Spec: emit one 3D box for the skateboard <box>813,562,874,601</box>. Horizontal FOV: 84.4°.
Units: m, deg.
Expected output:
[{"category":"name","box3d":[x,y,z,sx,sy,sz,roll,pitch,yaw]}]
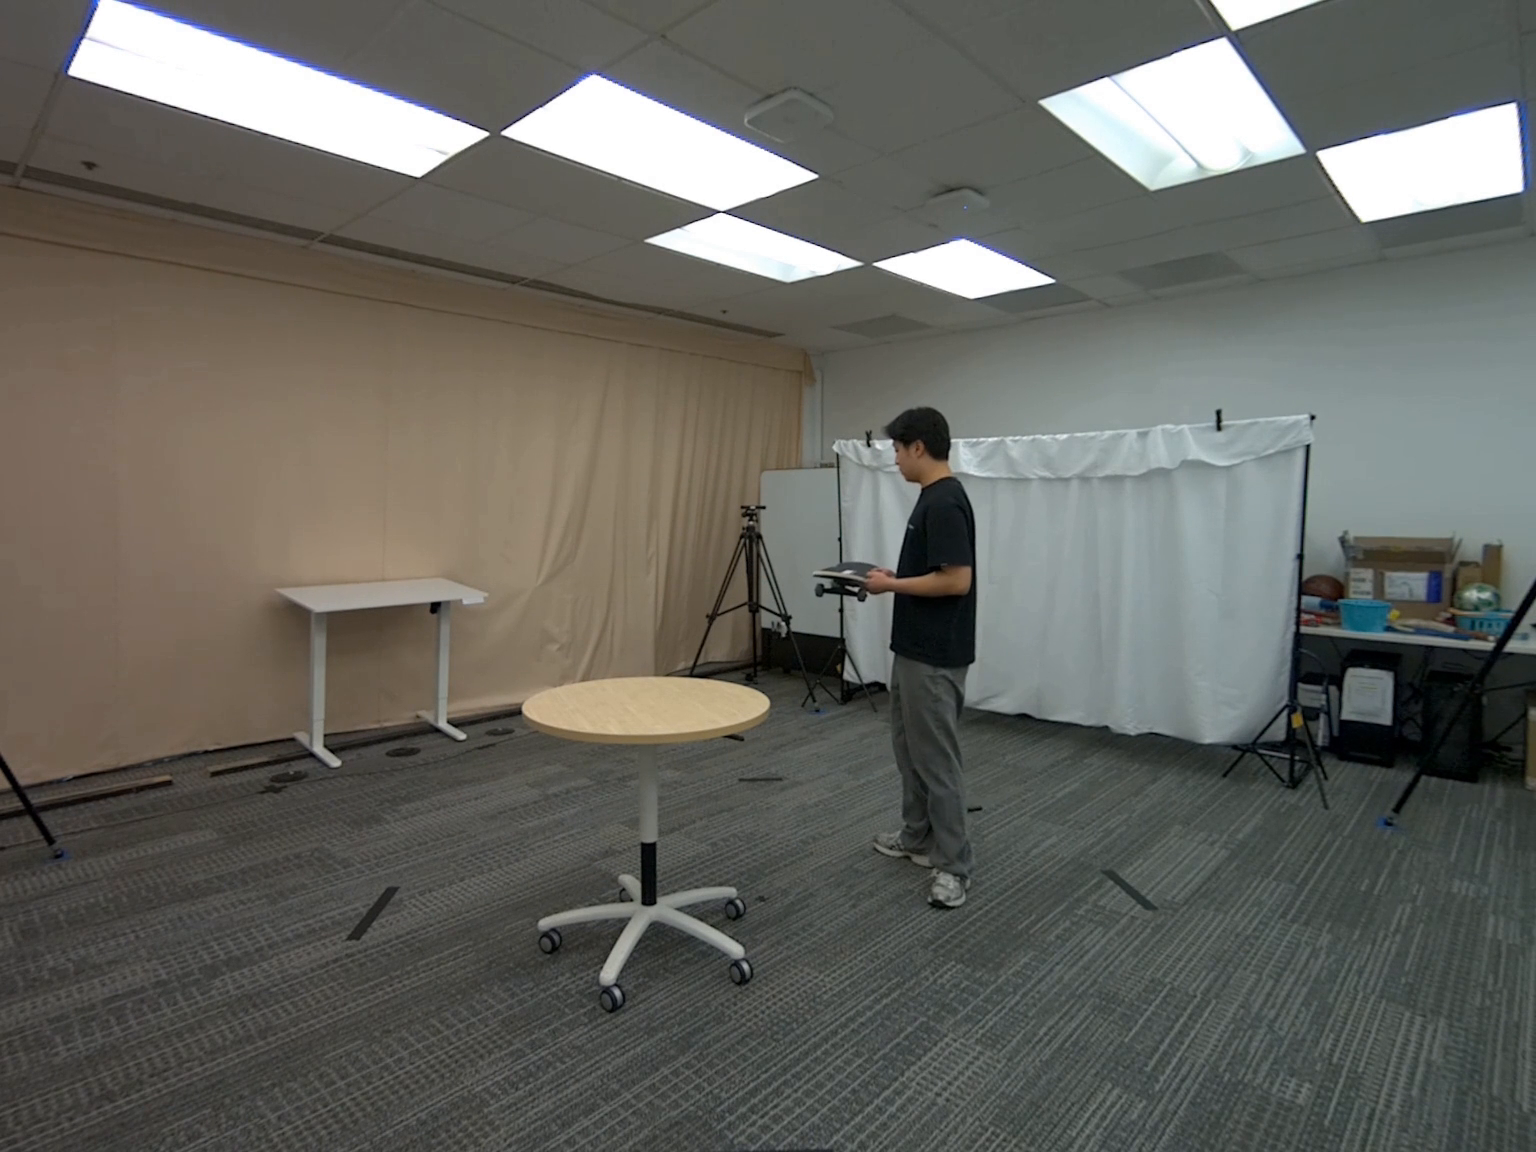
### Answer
[{"category":"skateboard","box3d":[0.323,0.025,3.249,0.197,0.110,0.772,4,5,15]}]
